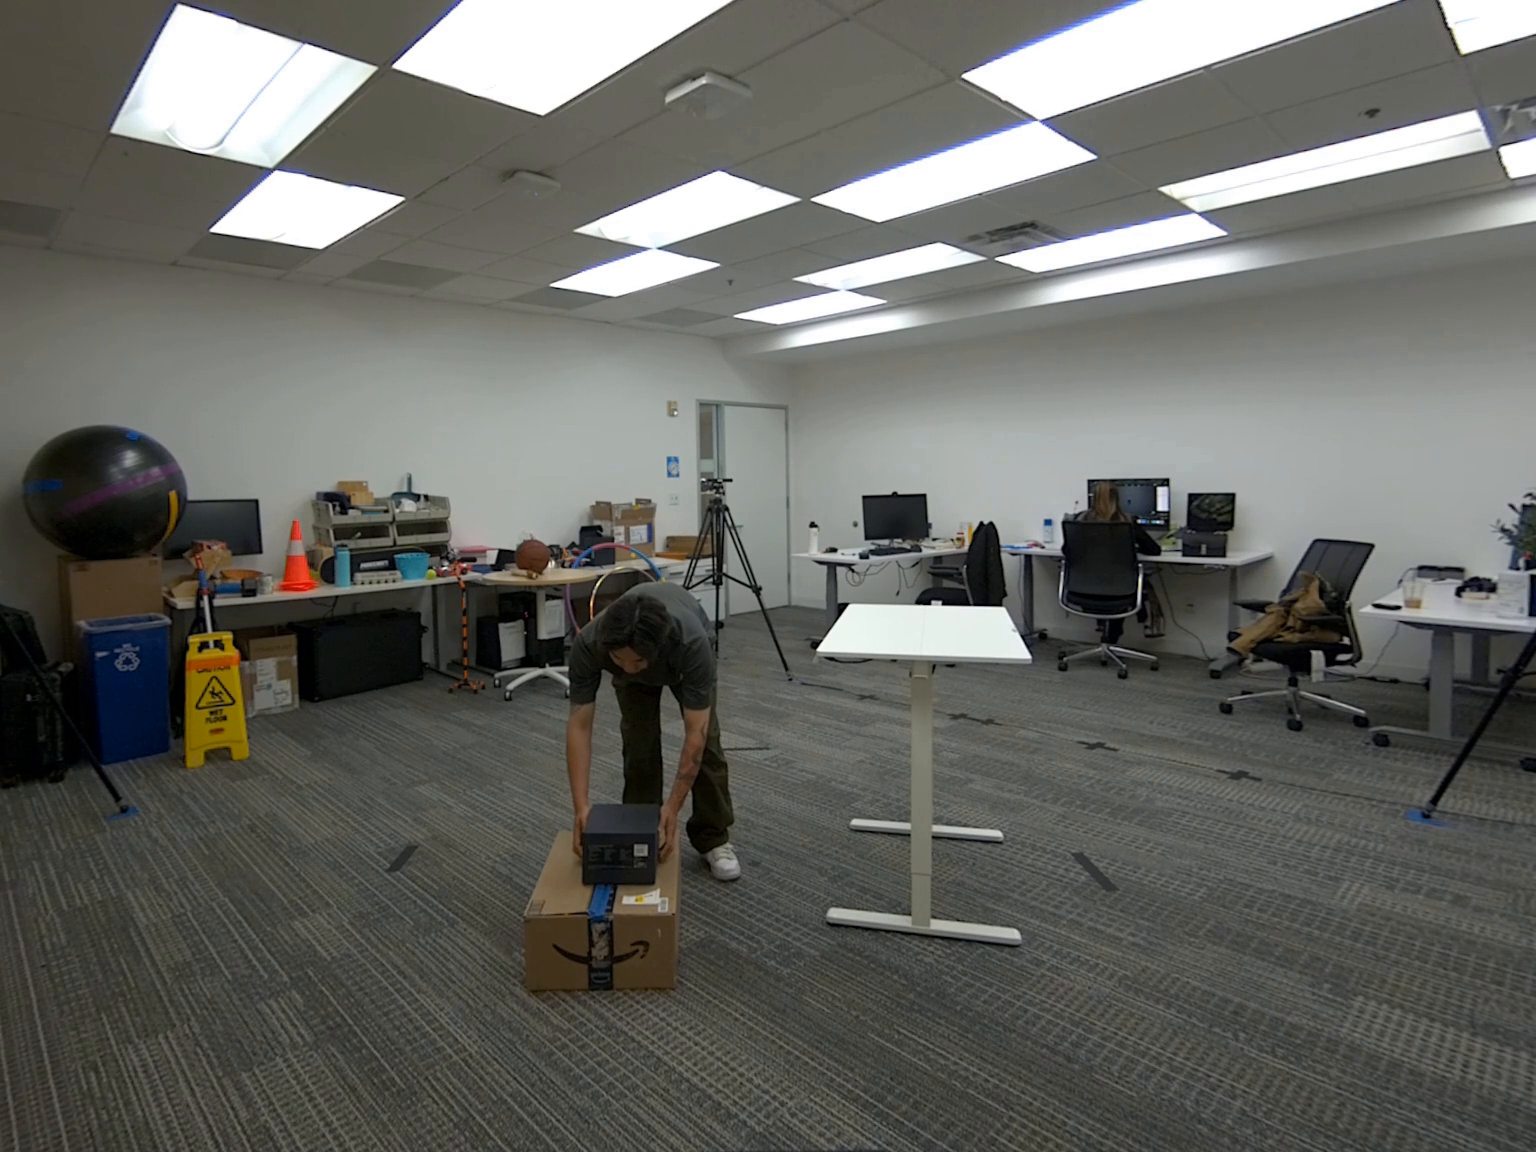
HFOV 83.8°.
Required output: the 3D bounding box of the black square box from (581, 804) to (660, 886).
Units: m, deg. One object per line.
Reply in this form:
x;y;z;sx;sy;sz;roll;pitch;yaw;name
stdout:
-0.441;0.816;2.602;0.217;0.155;0.229;-1;6;-2;black square box
